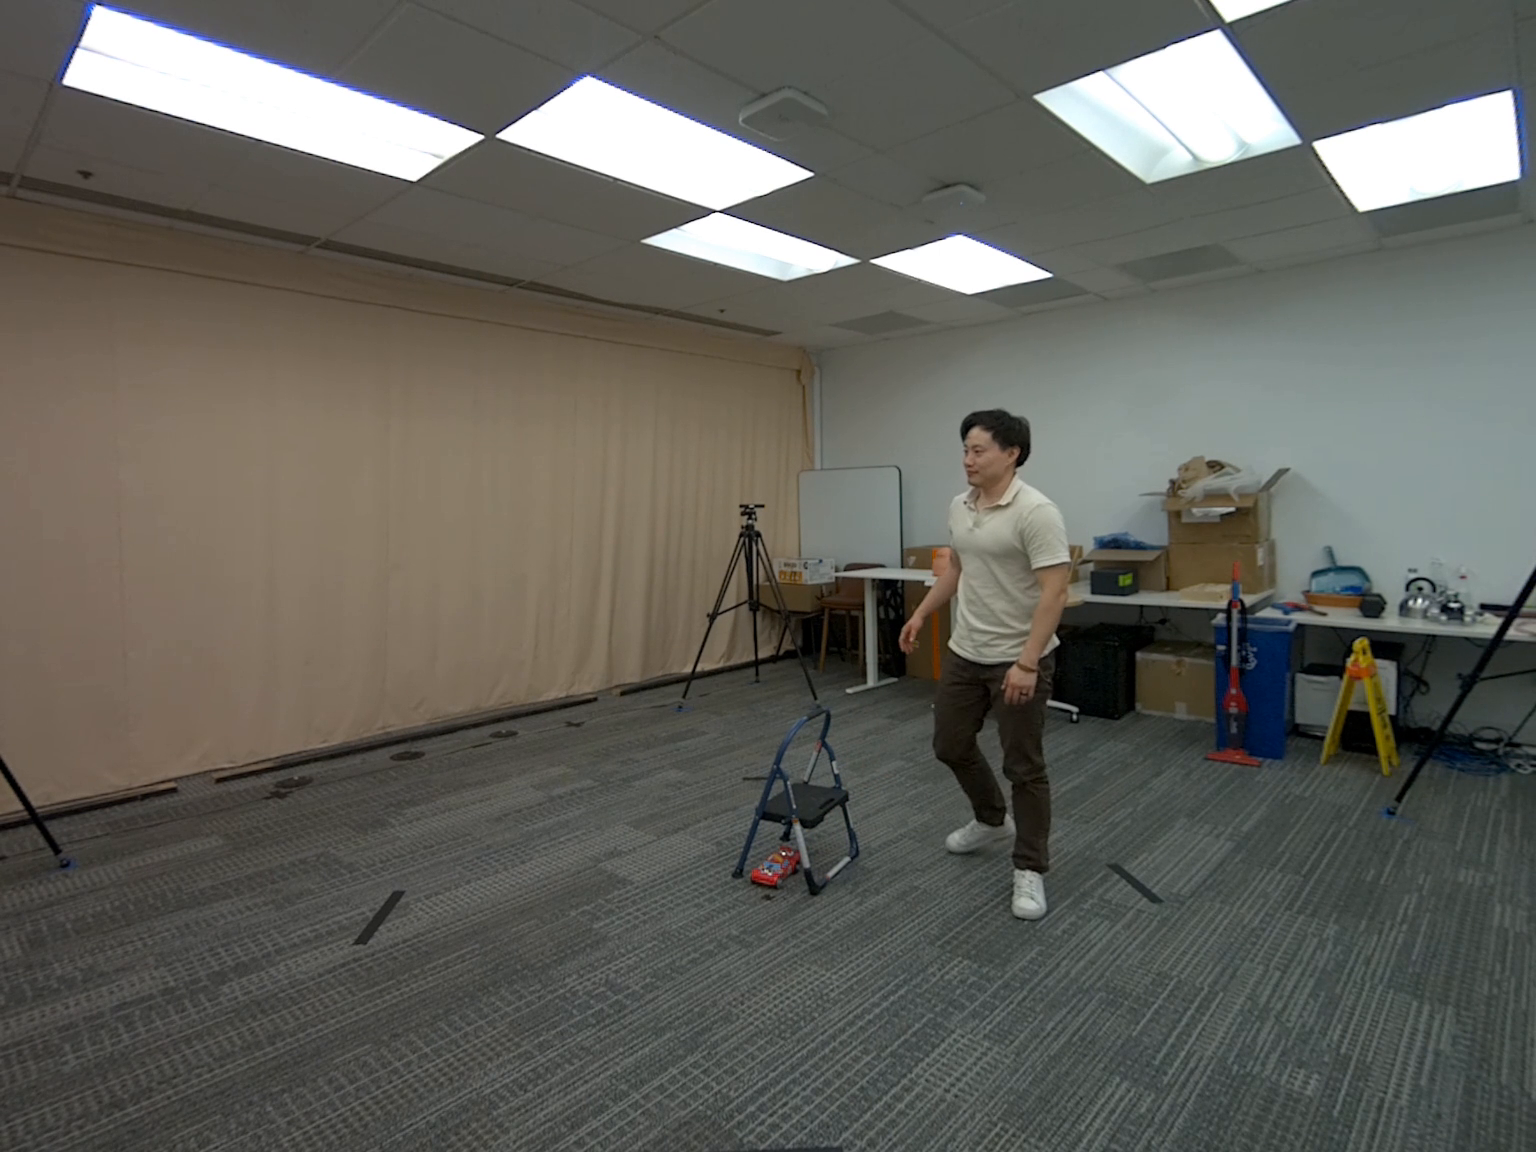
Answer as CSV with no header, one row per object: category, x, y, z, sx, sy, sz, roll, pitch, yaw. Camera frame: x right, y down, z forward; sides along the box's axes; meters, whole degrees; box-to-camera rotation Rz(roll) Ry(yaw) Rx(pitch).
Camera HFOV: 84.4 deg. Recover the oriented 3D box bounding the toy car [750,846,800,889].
toy car,0.040,1.094,3.156,0.134,0.082,0.250,1,16,29
